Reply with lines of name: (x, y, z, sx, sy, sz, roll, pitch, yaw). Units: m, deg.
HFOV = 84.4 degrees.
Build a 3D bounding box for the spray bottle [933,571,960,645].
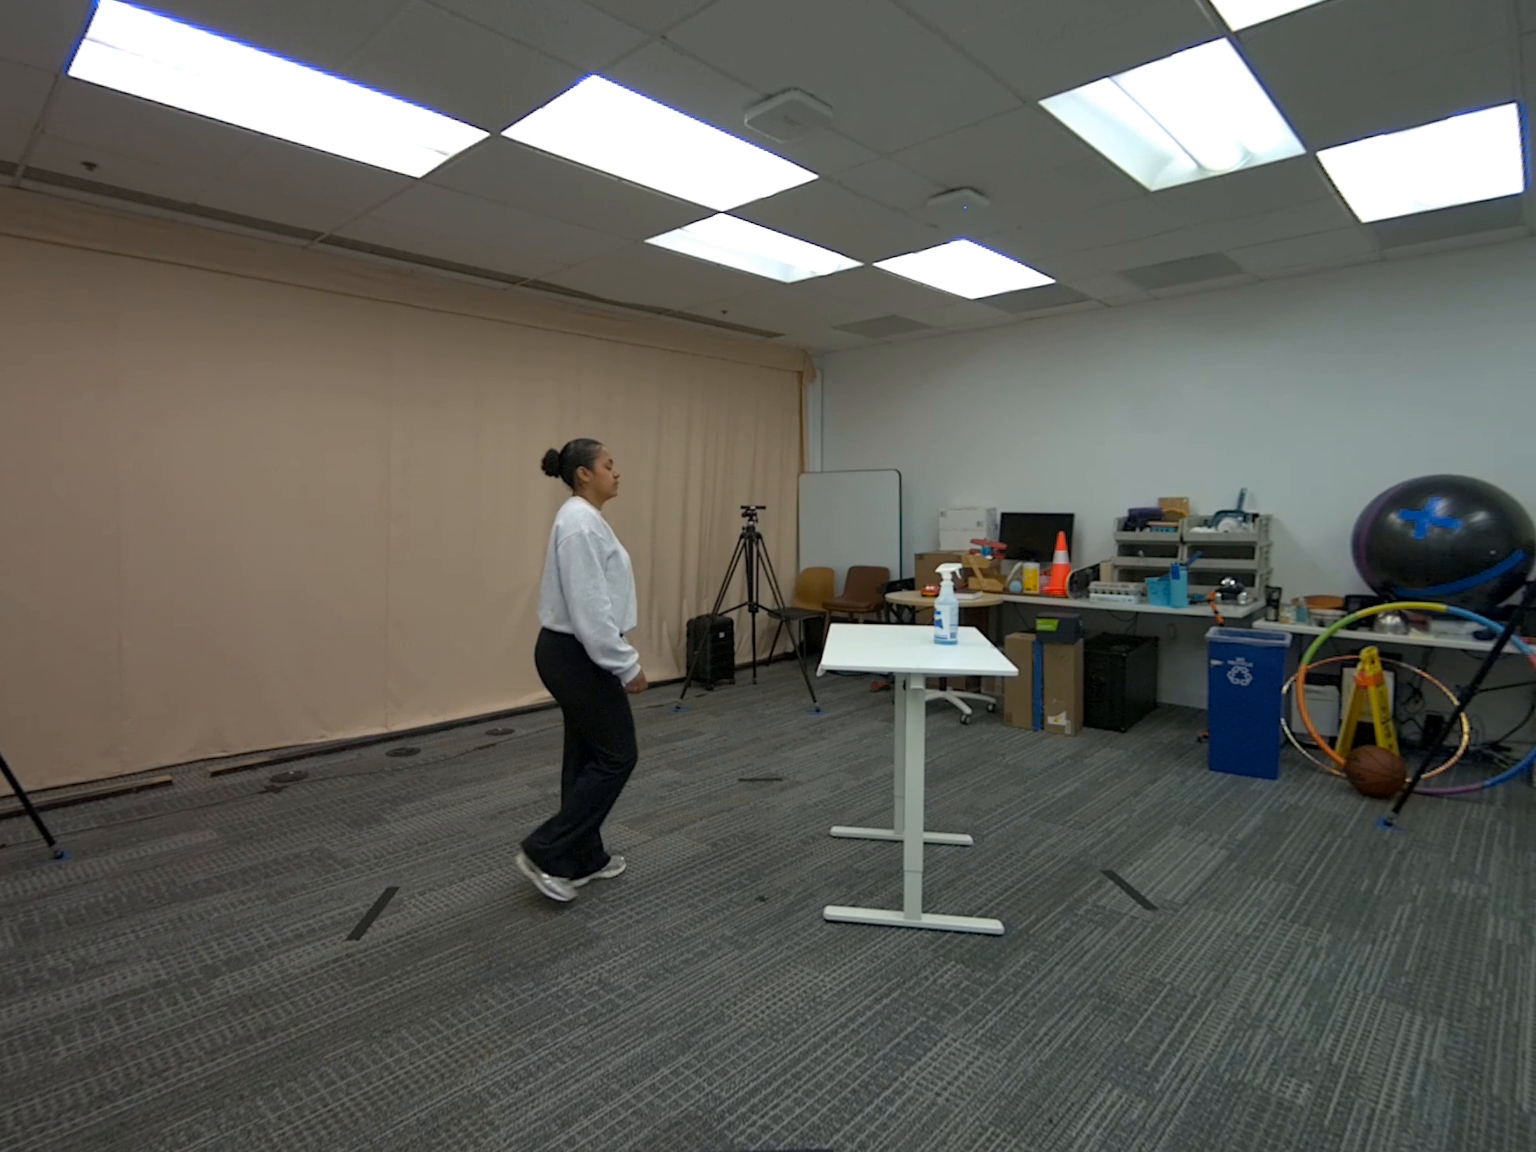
spray bottle: (0.669, 0.106, 3.104, 0.093, 0.297, 0.084, 5, 4, 38)
